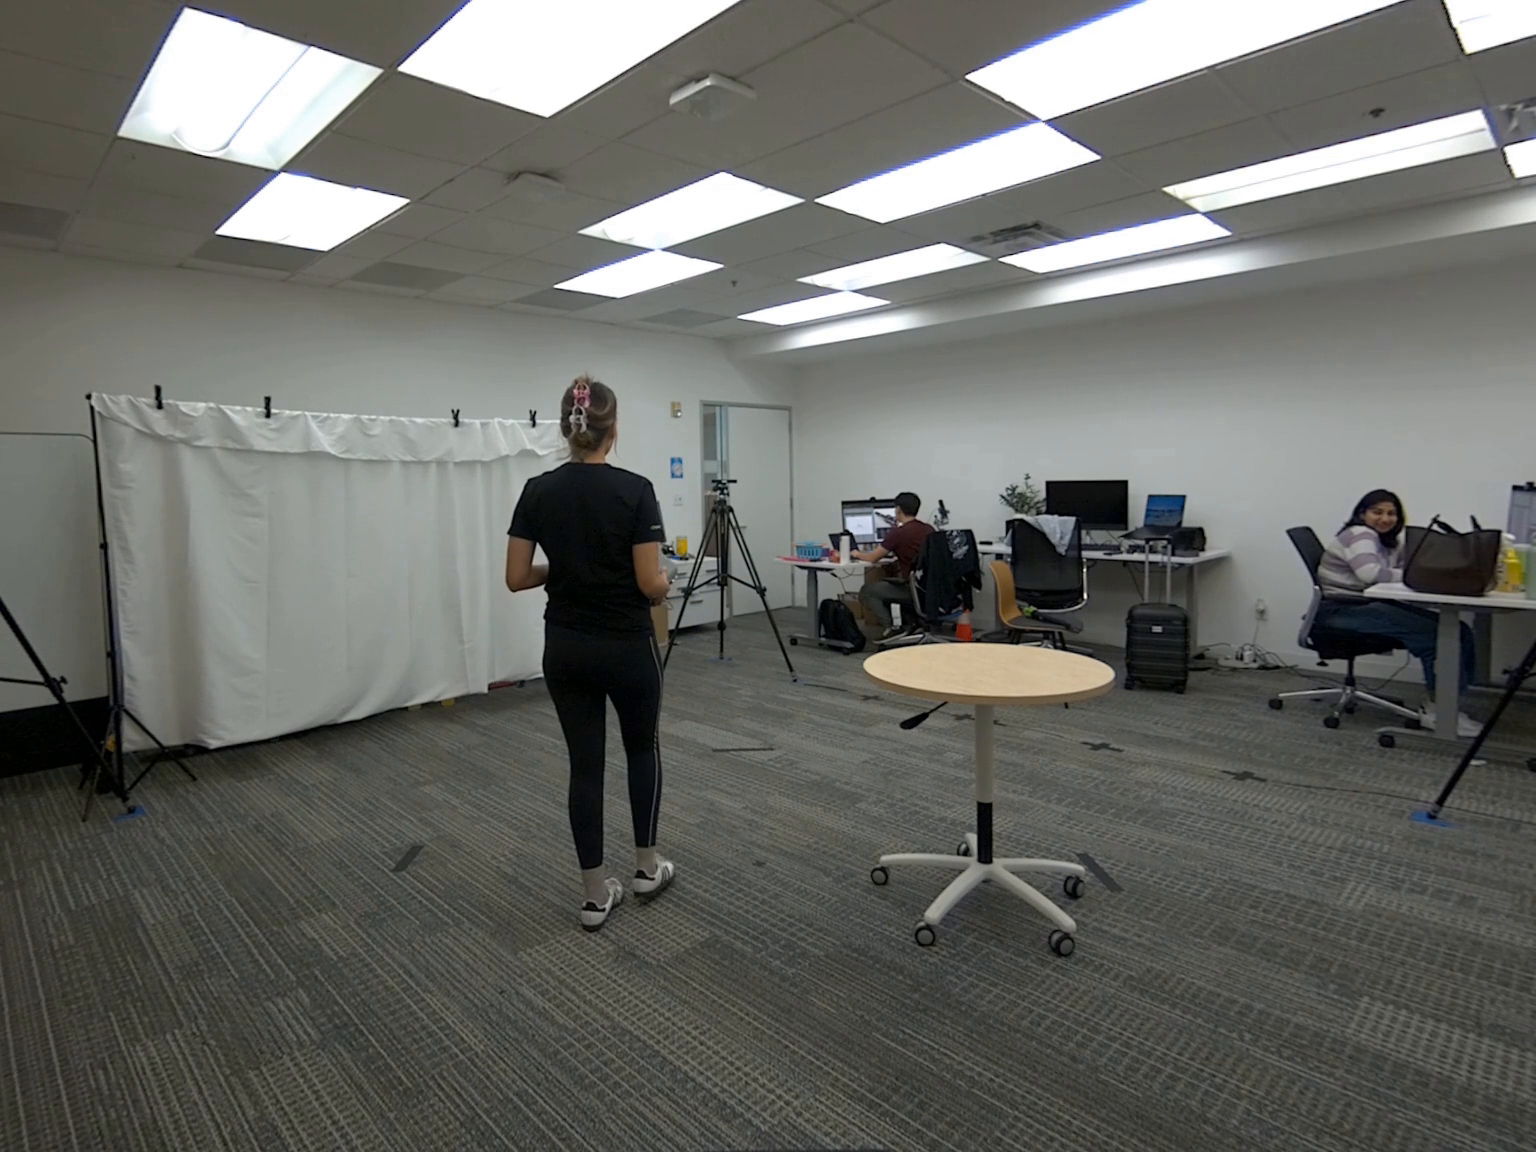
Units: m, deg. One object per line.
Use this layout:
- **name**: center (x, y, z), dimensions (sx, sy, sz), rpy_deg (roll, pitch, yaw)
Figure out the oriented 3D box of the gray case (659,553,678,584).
- **gray case**: center (-0.478, -0.007, 2.996), dimensions (0.264, 0.103, 0.257), rpy_deg (35, 47, 9)
